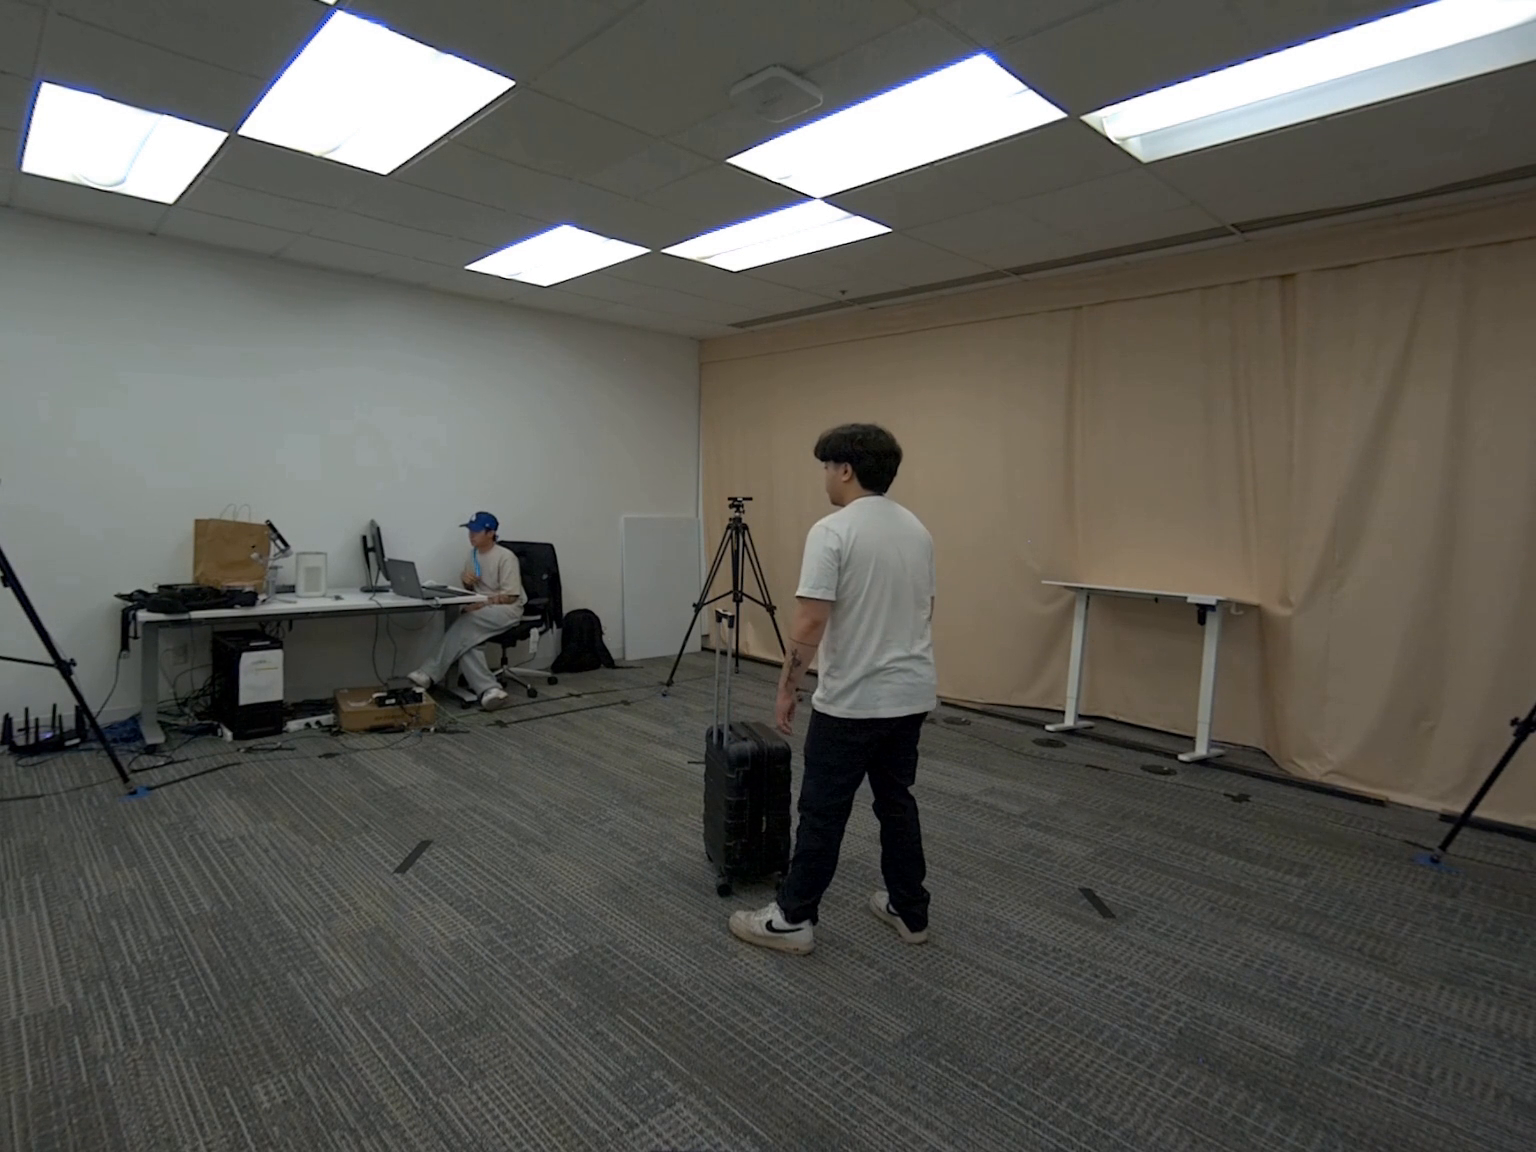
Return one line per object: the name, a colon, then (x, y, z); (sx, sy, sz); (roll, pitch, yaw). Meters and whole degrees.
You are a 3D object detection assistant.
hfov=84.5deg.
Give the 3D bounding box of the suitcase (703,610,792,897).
suitcase: (-0.079, 0.634, 3.108); (0.254, 0.976, 0.389); (2, 4, -15)
